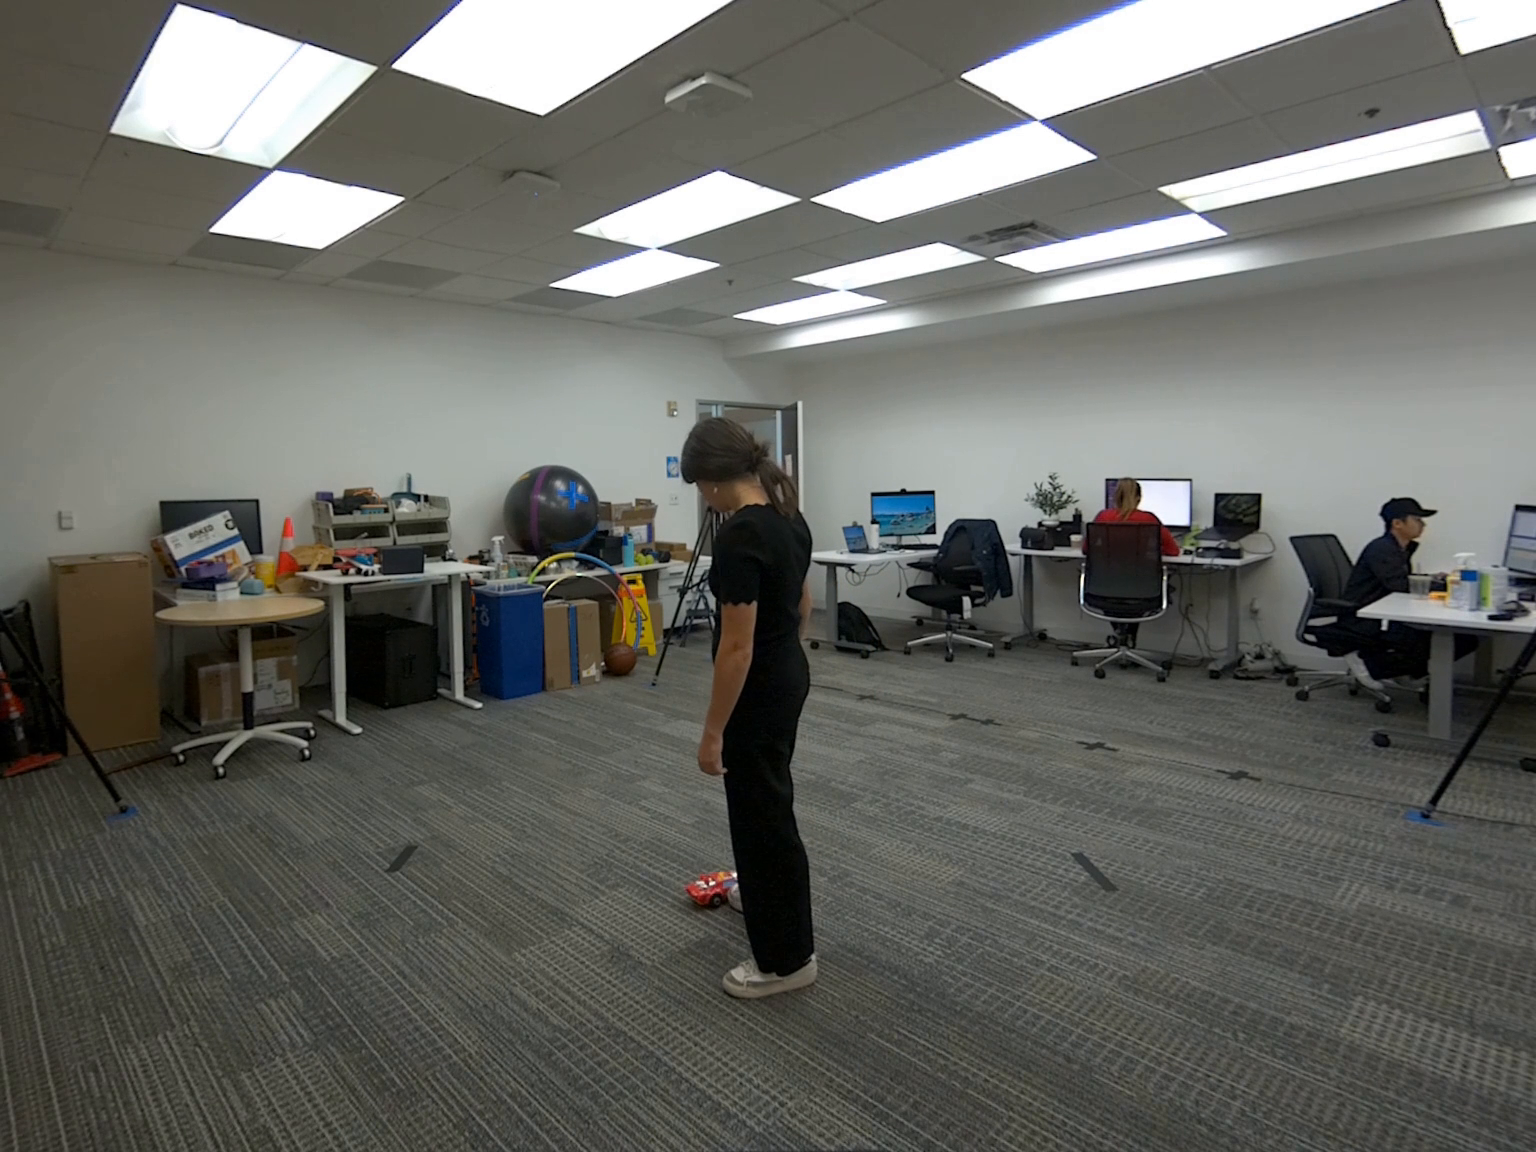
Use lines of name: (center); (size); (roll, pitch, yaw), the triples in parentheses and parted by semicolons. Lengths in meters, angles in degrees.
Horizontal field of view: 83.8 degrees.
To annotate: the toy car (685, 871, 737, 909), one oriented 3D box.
toy car: (-0.161, 1.042, 2.862); (0.247, 0.083, 0.134); (8, 0, -33)
